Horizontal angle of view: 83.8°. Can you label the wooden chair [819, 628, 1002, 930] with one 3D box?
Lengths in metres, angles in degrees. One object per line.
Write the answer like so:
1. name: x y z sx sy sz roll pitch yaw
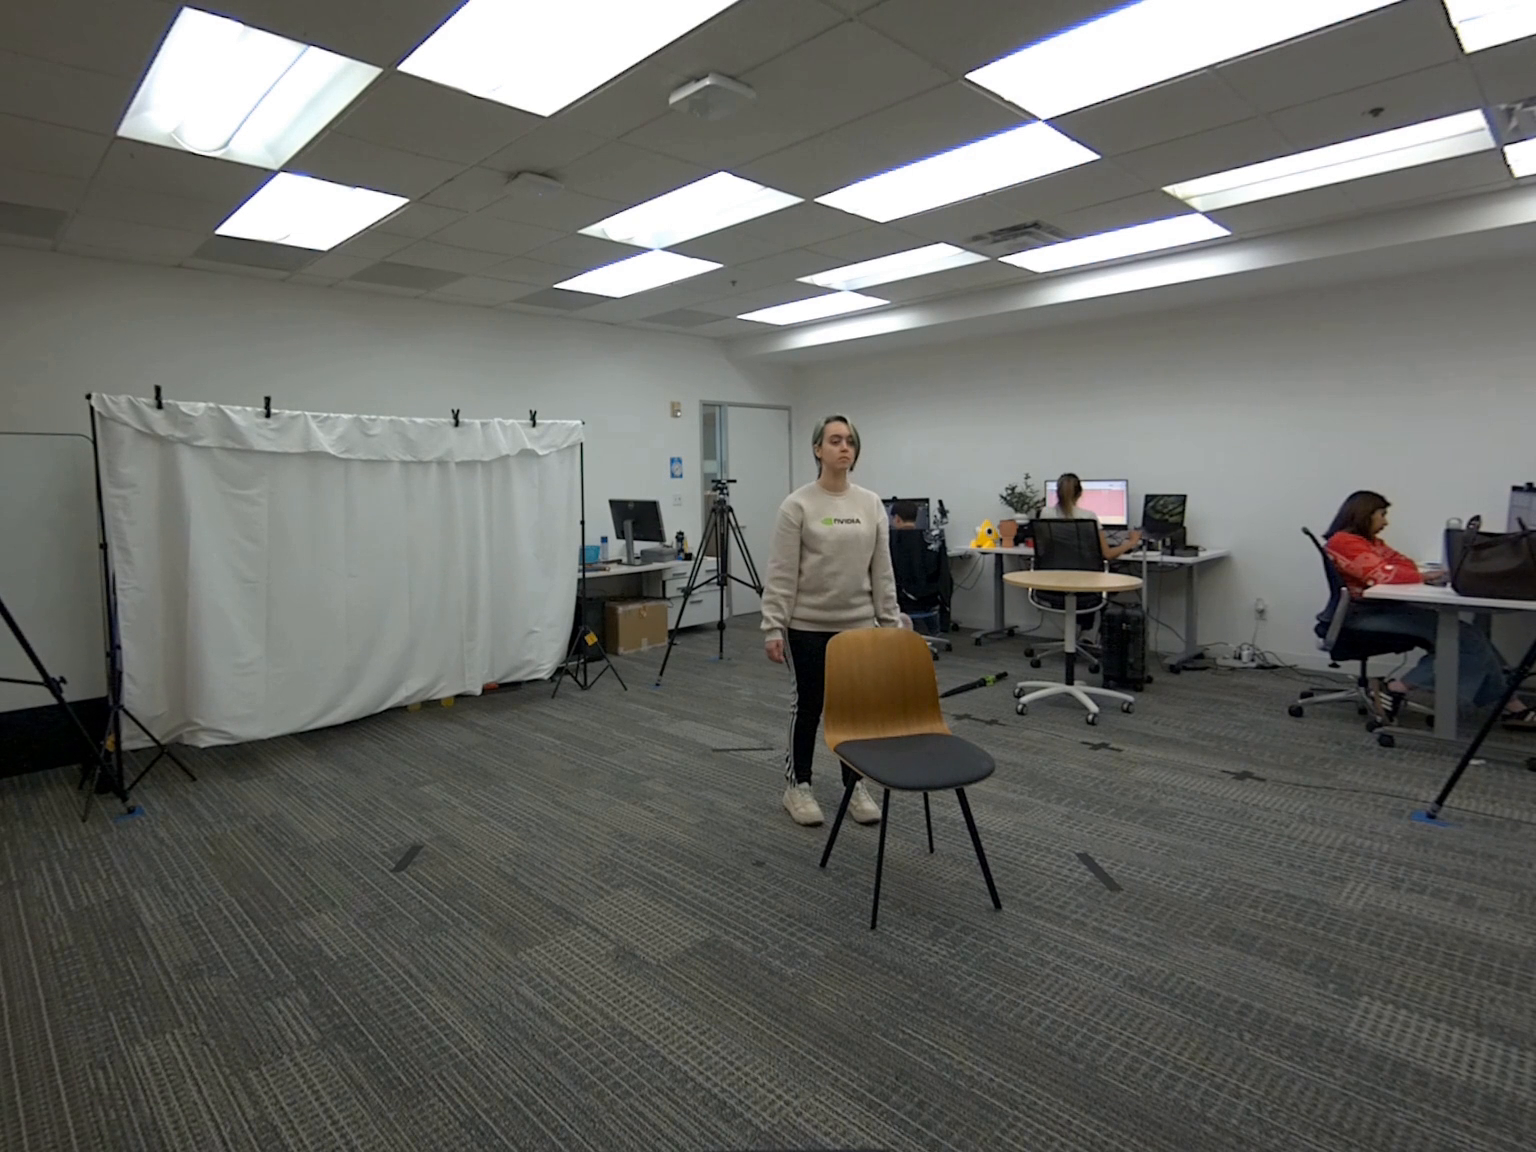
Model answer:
1. wooden chair: 0.457 0.642 2.868 0.471 0.878 0.531 -2 0 -16
